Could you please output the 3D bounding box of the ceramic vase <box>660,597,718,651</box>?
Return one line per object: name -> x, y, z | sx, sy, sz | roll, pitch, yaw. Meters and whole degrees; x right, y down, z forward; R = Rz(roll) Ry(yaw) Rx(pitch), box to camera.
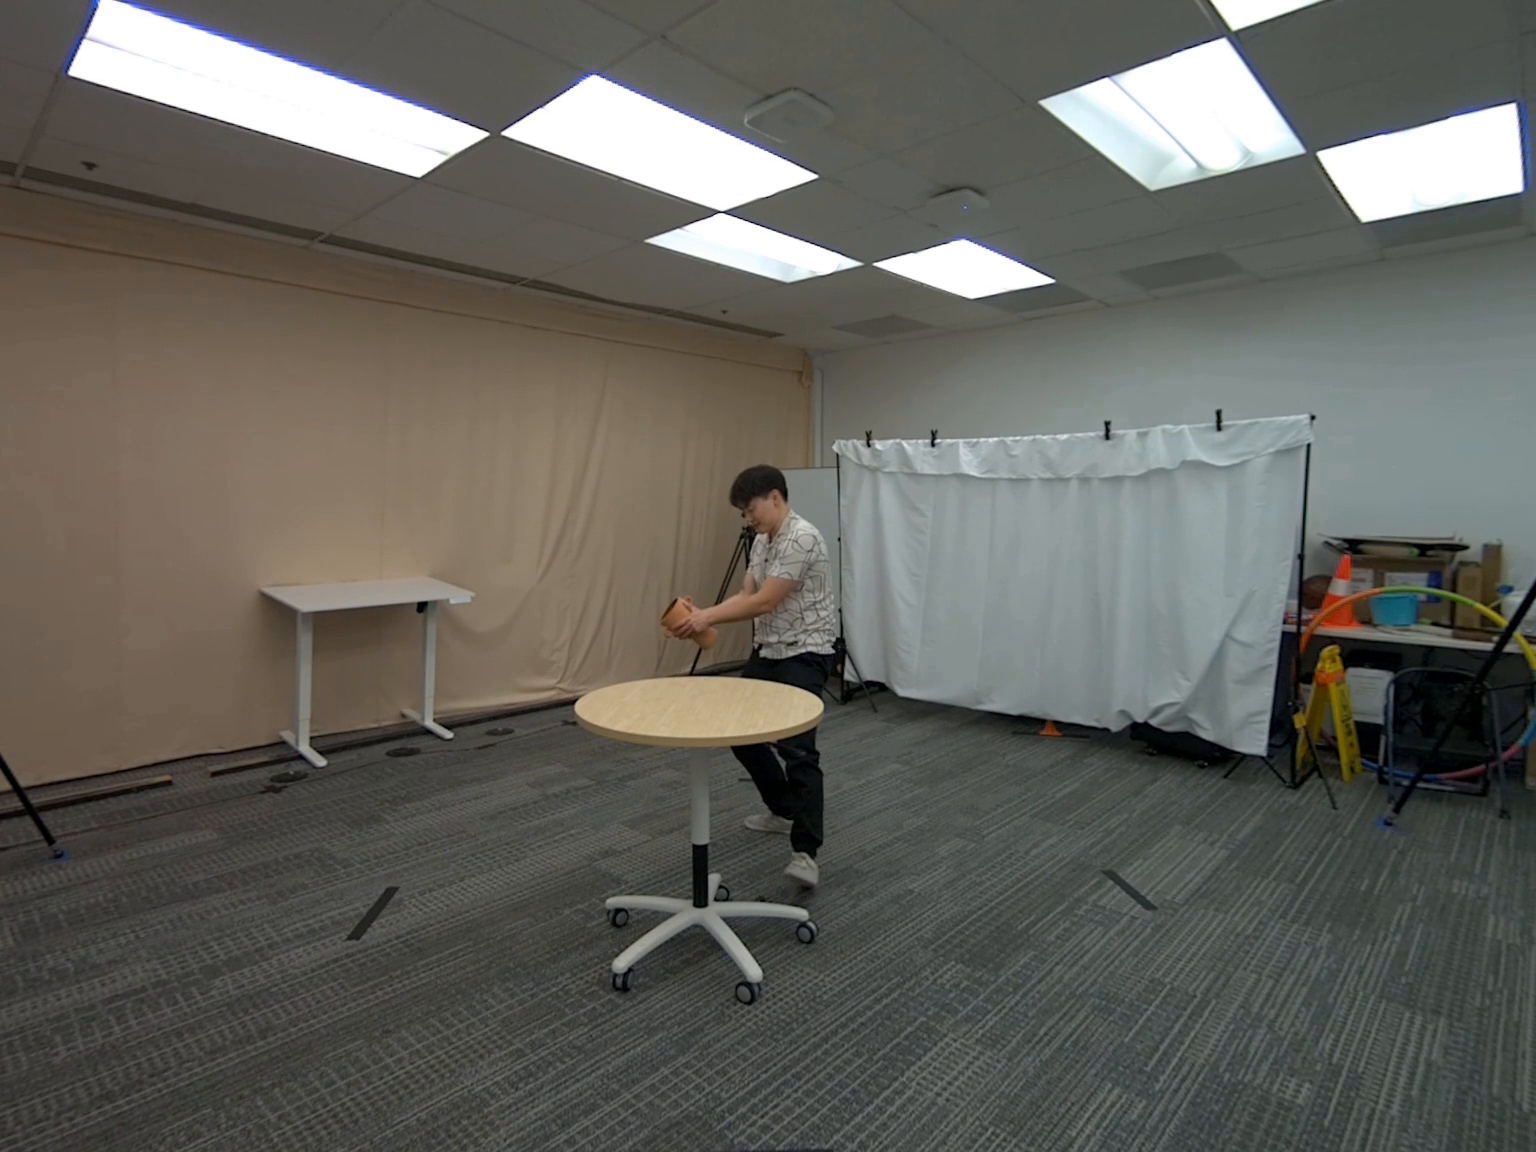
ceramic vase -> -0.321, 0.199, 3.426 | 0.217, 0.159, 0.136 | 37, 12, -11
